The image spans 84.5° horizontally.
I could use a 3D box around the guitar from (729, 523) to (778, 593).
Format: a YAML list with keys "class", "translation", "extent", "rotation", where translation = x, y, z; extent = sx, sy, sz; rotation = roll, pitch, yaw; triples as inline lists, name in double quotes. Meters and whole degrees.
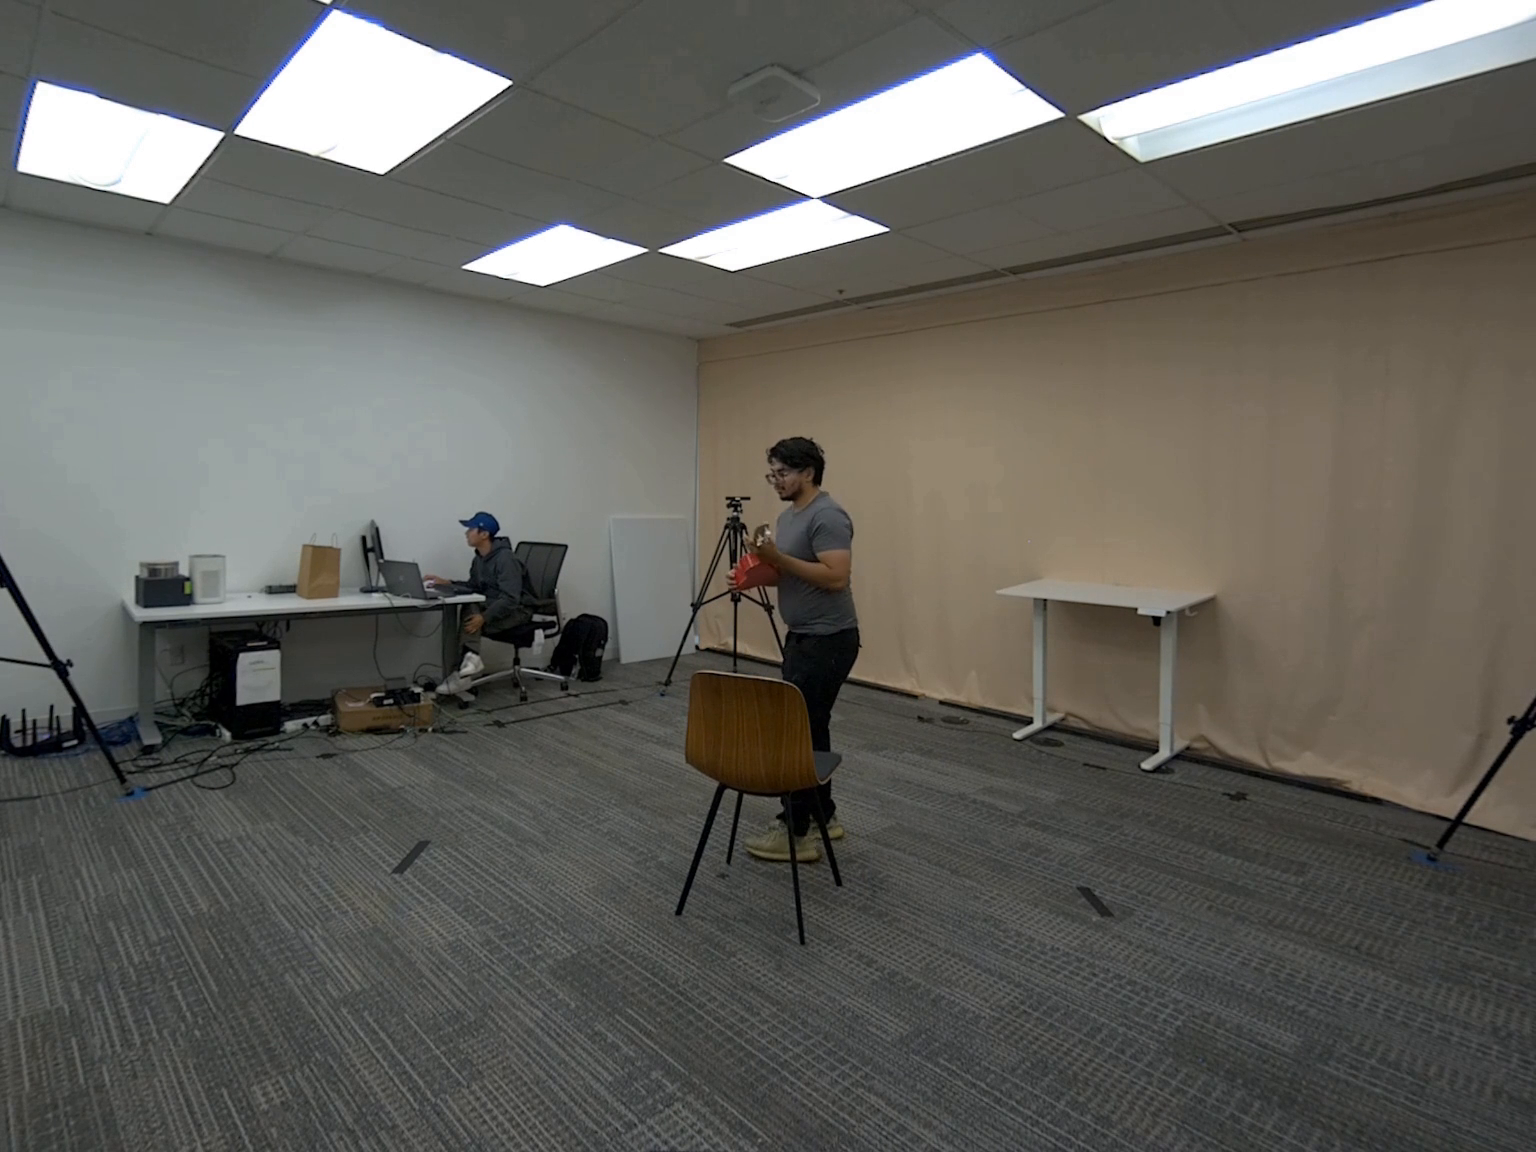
- class: "guitar"
  translation: [-0.066, -0.059, 3.242]
  extent: [0.192, 0.072, 0.489]
  rotation: [-23, -20, -6]
